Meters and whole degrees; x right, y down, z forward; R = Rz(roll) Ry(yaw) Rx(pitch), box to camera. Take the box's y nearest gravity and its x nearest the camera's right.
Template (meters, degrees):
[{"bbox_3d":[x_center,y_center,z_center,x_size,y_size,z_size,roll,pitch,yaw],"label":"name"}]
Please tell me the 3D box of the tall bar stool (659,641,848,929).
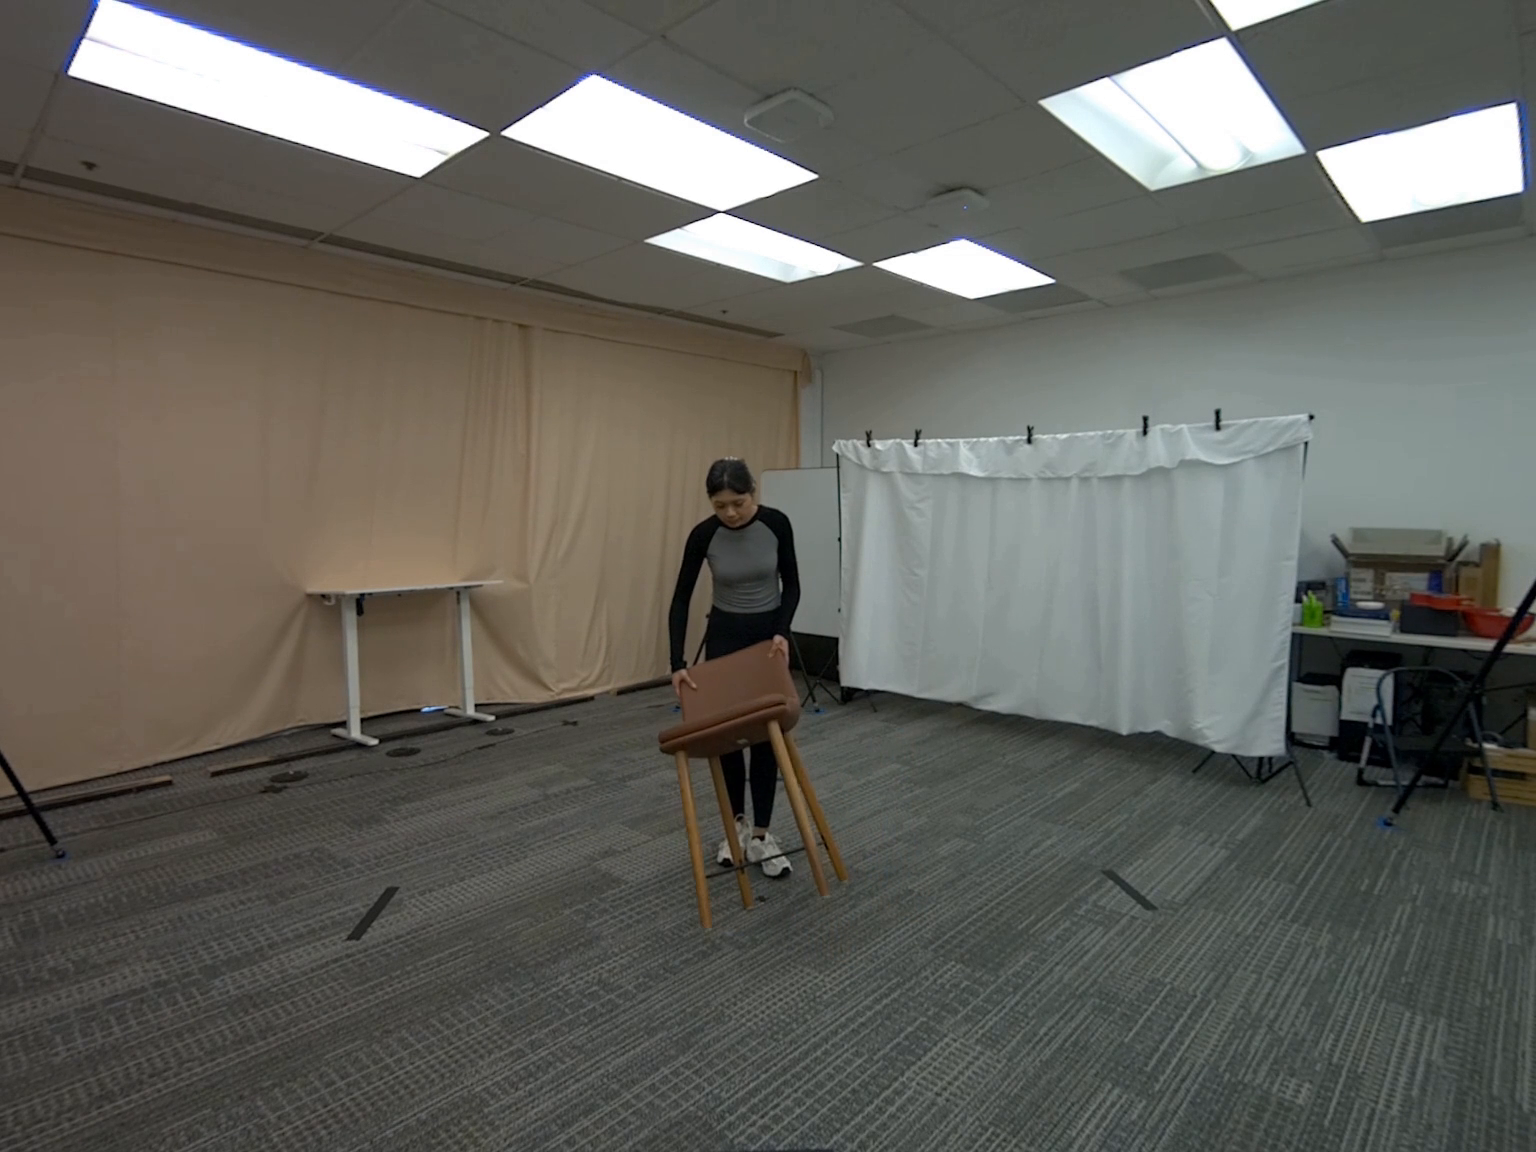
[{"bbox_3d":[-0.067,0.650,2.824,0.461,0.906,0.455,-22,-21,11],"label":"tall bar stool"}]
